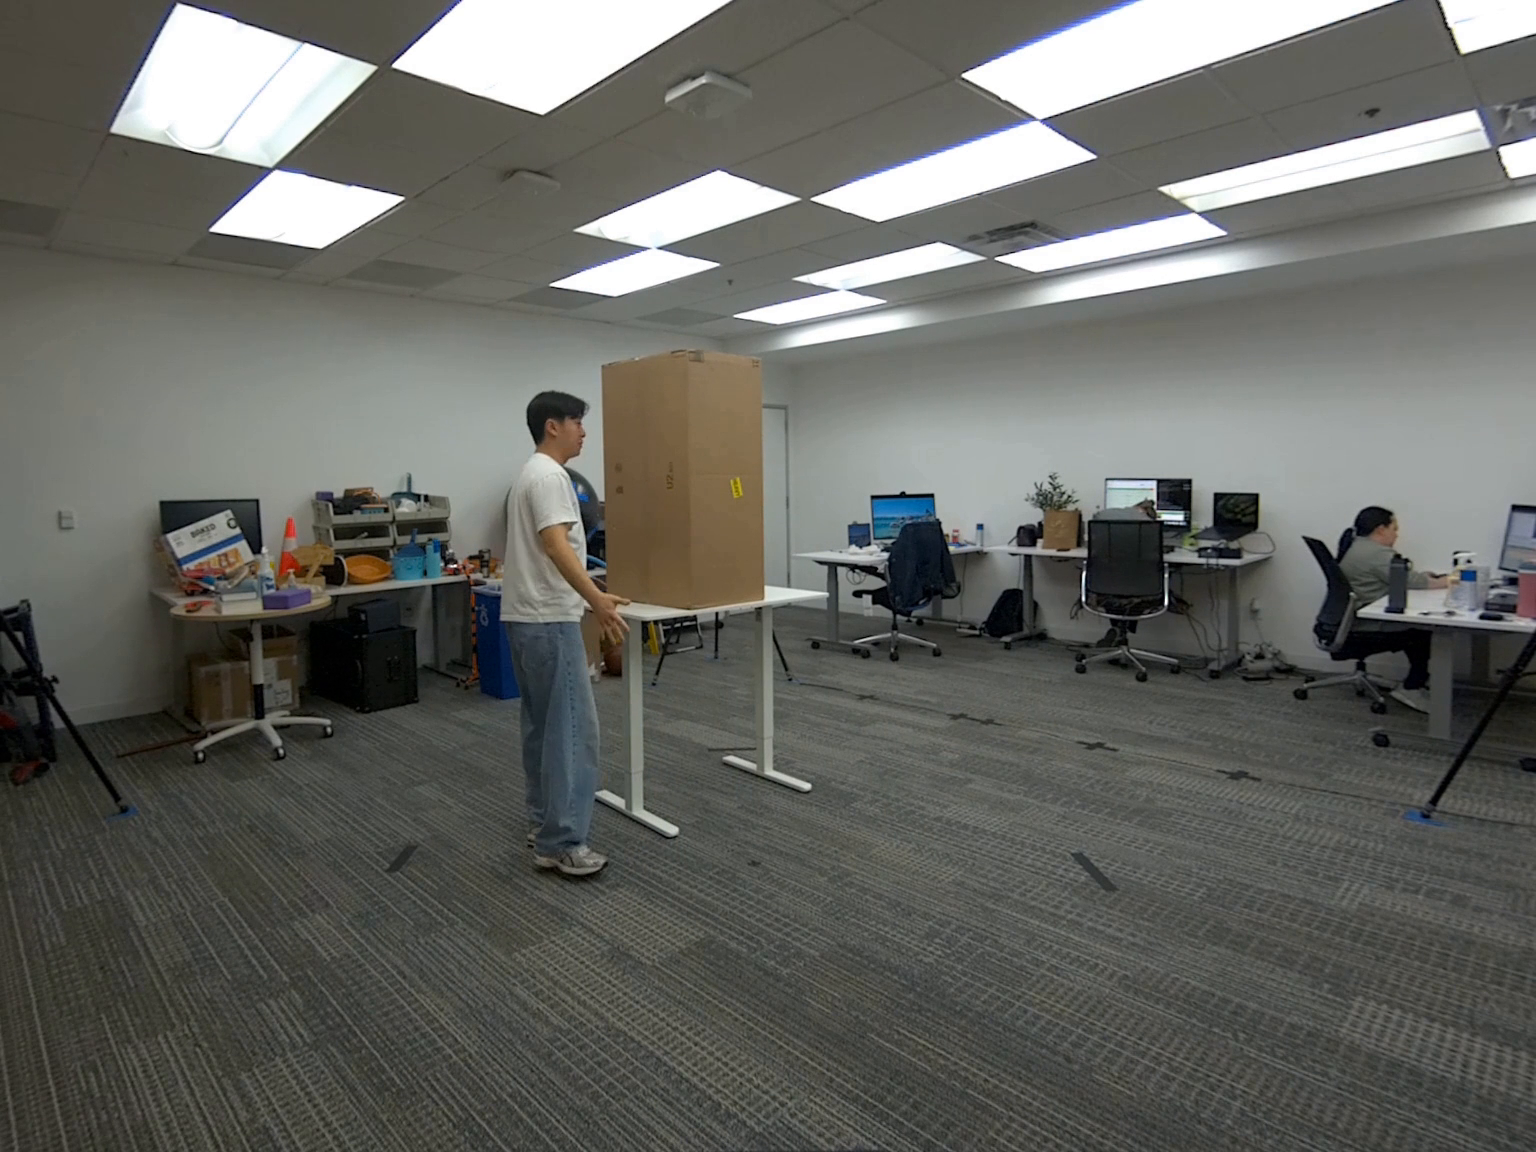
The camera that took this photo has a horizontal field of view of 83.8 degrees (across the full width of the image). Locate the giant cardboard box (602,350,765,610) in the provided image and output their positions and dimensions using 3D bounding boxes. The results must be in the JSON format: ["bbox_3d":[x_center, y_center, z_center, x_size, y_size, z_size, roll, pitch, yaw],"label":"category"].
[{"bbox_3d":[-0.370,-0.406,3.690,0.414,1.023,0.595,-3,4,-44],"label":"giant cardboard box"}]
